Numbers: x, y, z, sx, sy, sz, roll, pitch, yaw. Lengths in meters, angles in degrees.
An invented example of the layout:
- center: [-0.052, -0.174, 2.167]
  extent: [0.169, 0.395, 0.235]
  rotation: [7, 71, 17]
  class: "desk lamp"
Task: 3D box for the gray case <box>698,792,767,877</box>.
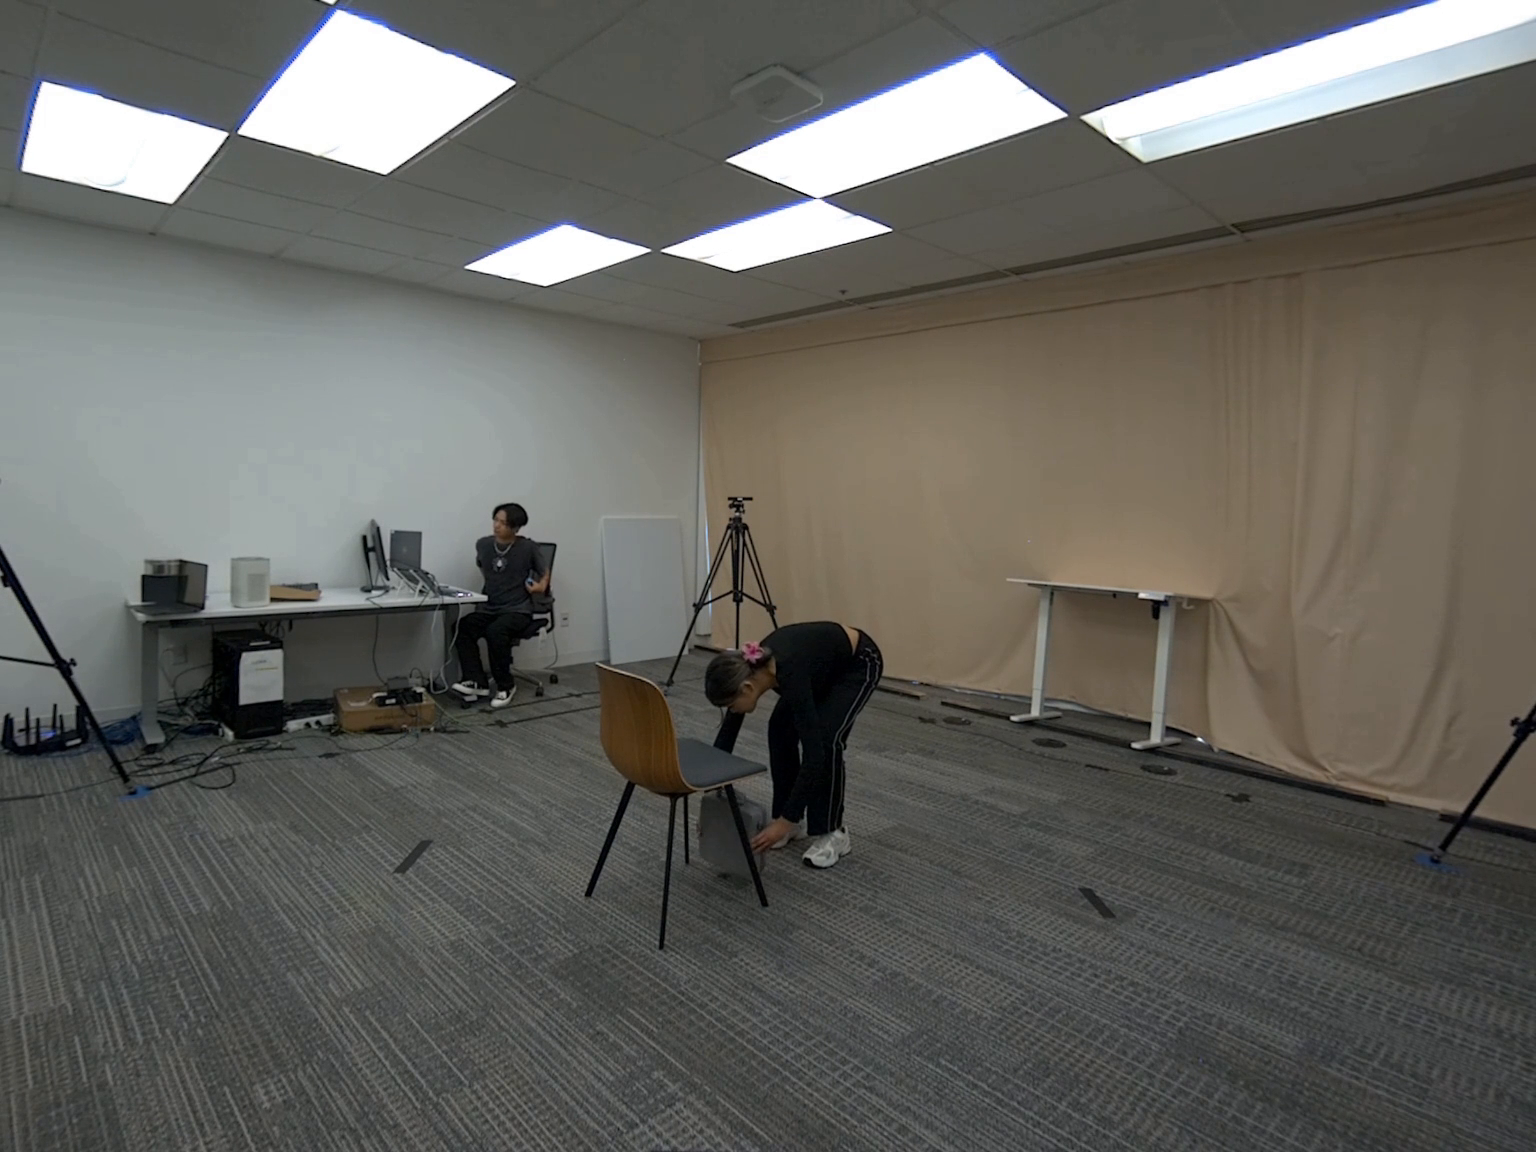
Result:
- center: [-0.131, 0.923, 3.057]
  extent: [0.263, 0.259, 0.102]
  rotation: [7, 8, 38]
  class: "gray case"
